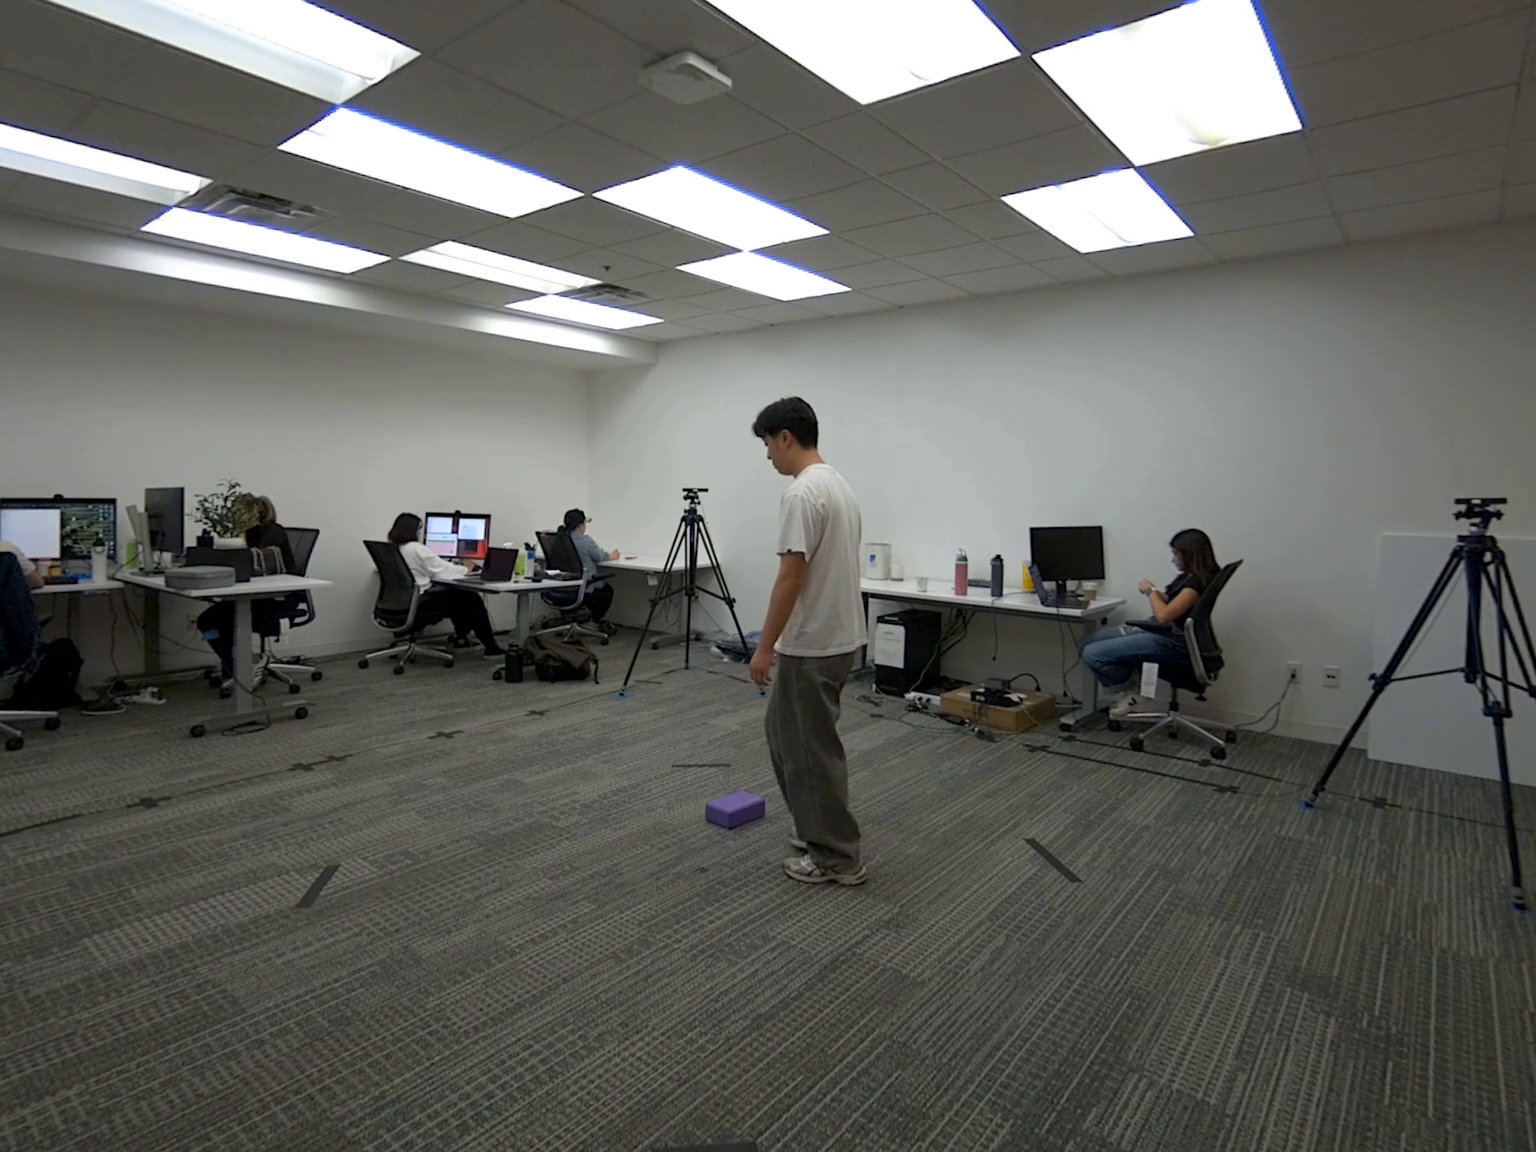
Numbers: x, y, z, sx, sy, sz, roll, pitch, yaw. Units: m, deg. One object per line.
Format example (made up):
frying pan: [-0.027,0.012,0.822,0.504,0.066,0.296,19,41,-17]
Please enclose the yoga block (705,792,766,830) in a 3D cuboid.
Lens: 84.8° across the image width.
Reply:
yoga block: [-0.135,0.979,3.604,0.154,0.076,0.222,5,7,42]
